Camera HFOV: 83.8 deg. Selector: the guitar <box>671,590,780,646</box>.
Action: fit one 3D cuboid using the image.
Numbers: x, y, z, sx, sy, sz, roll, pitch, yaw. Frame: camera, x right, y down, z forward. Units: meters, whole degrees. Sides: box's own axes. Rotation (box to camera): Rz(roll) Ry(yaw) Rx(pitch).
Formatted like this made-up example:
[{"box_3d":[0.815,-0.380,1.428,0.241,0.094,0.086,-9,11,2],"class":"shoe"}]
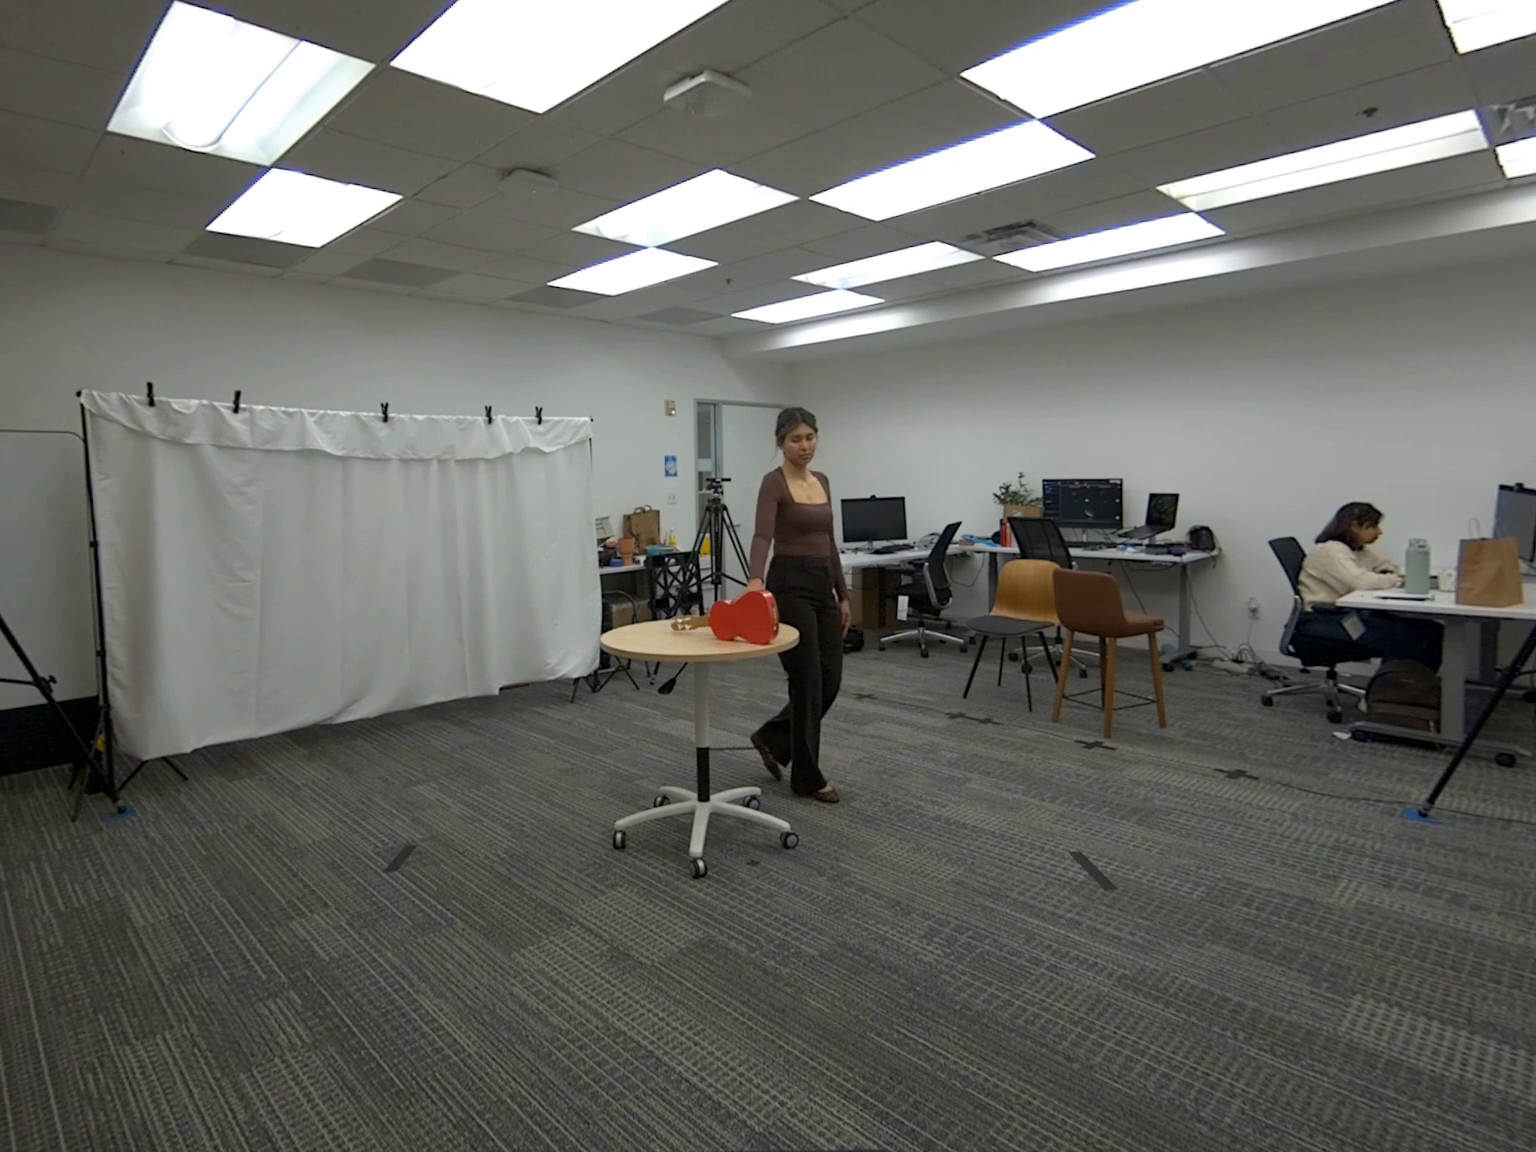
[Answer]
[{"box_3d":[-0.172,0.194,3.204,0.506,0.194,0.069,-18,-7,35],"class":"guitar"}]
